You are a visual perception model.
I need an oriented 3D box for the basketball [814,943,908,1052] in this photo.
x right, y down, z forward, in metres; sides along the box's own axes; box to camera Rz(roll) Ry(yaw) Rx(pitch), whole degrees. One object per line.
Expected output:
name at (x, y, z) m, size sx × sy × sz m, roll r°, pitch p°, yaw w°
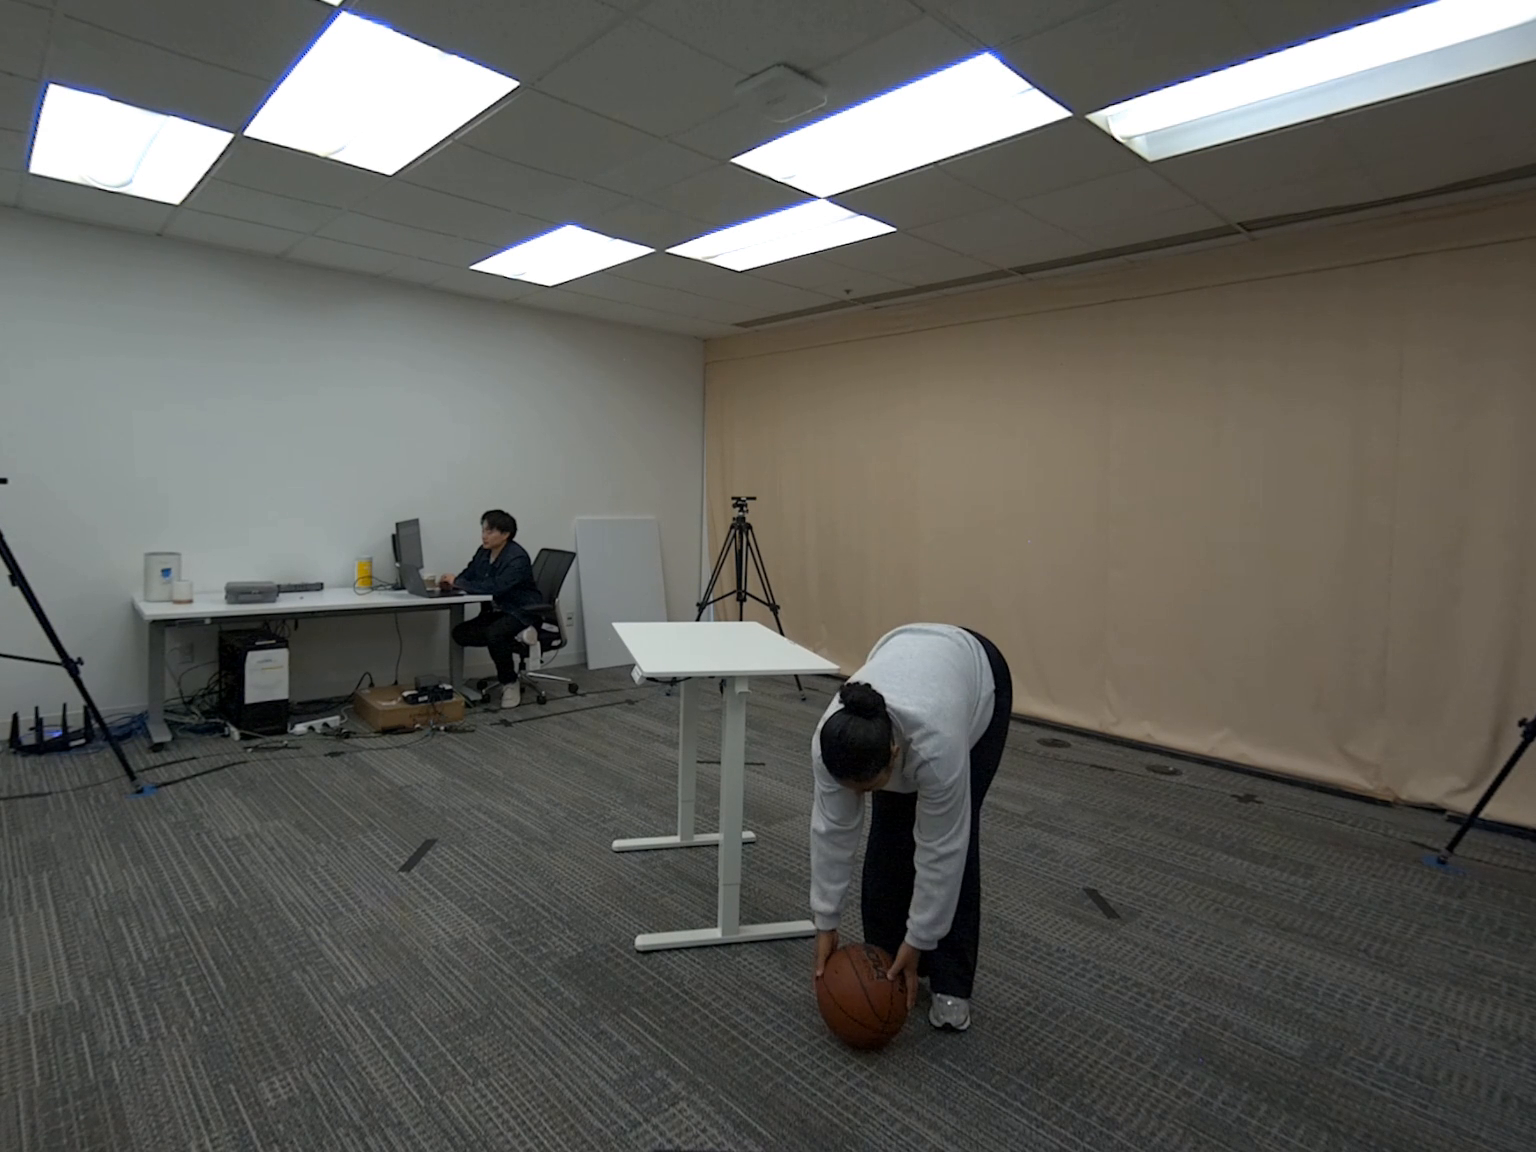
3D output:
basketball at (0.236, 1.061, 2.183) m, size 0.236 × 0.235 × 0.237 m, roll 1°, pitch 4°, yaw -1°
